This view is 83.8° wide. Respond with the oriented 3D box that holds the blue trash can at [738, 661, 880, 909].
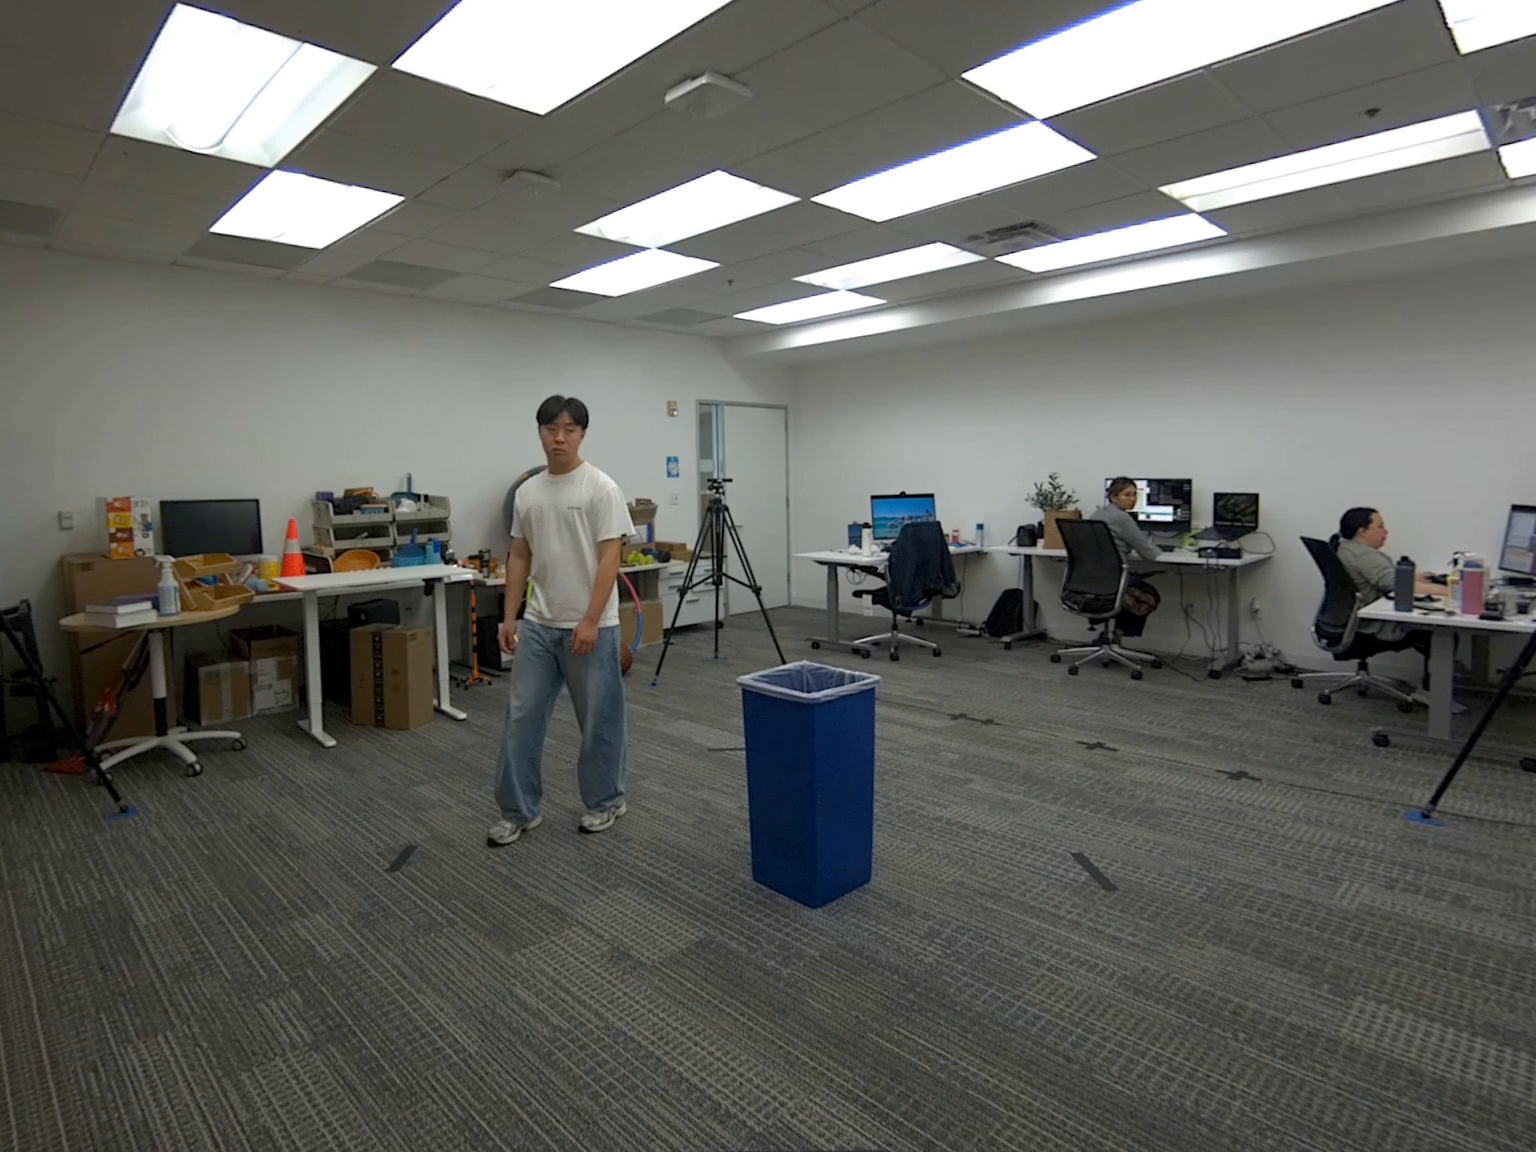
[{"bbox_3d":[0.146,0.702,2.942,0.364,0.711,0.389,-4,5,-44],"label":"blue trash can"}]
